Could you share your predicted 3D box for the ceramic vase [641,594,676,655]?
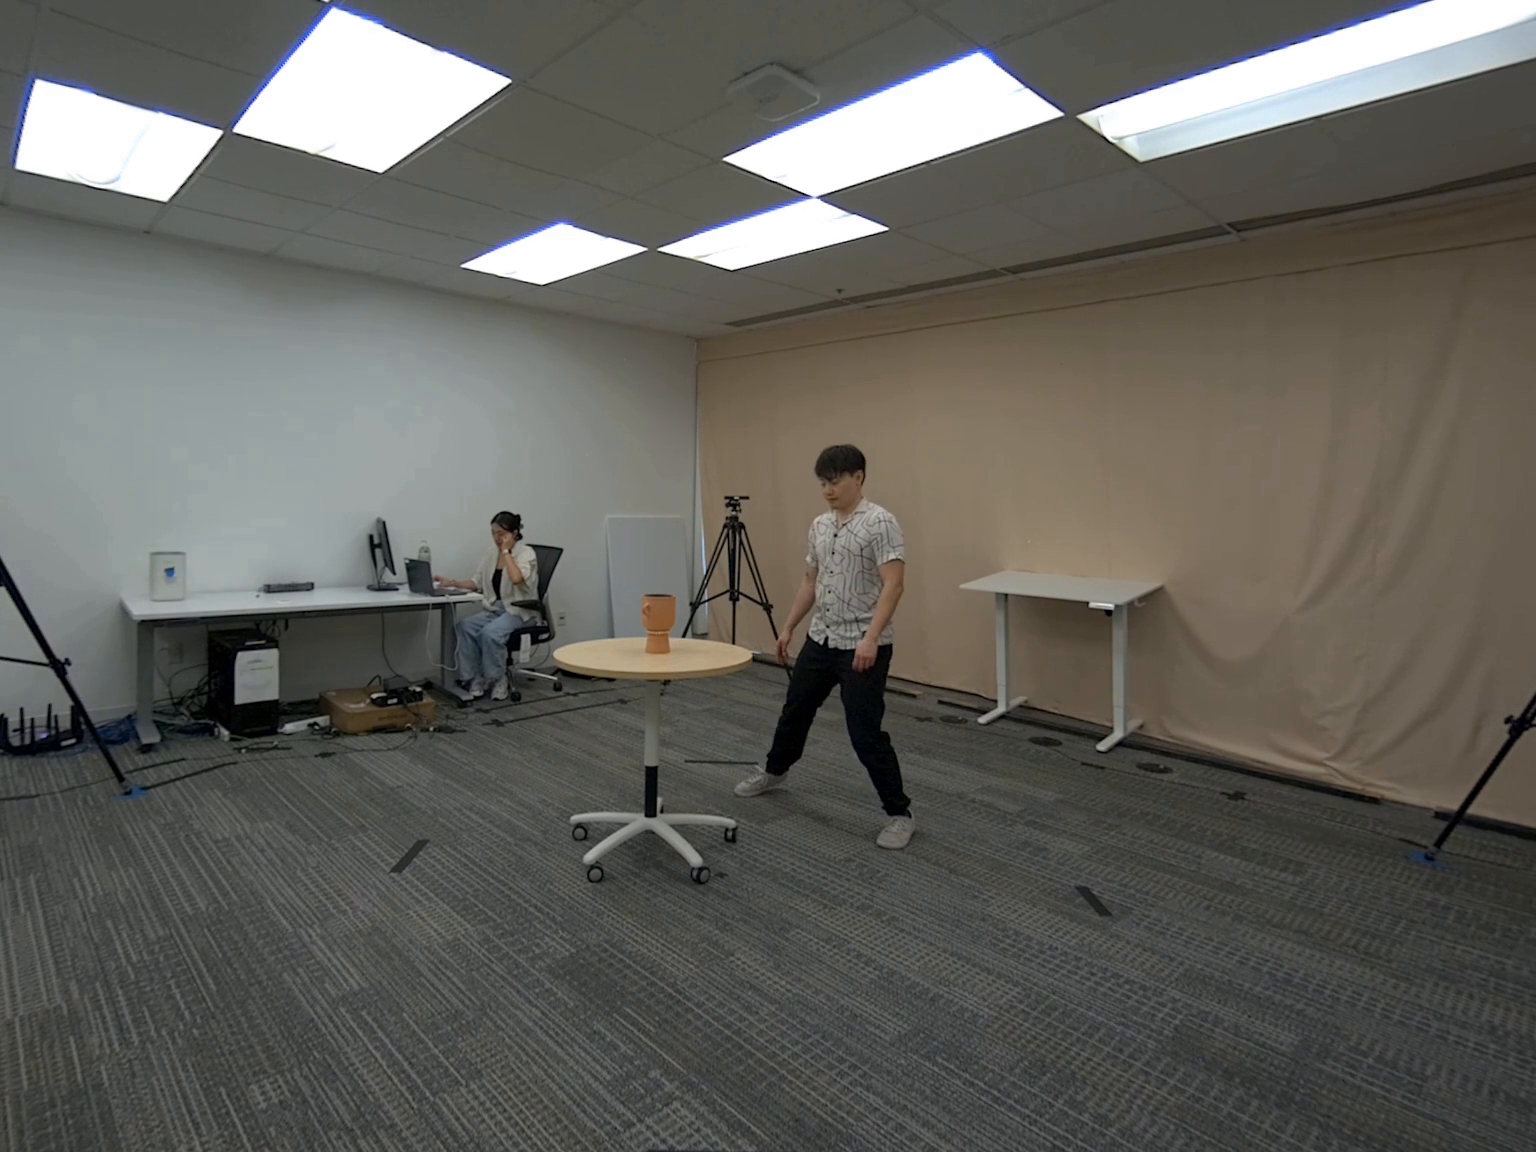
[{"bbox_3d":[-0.439,0.188,3.287,0.156,0.219,0.137,1,2,-21],"label":"ceramic vase"}]
